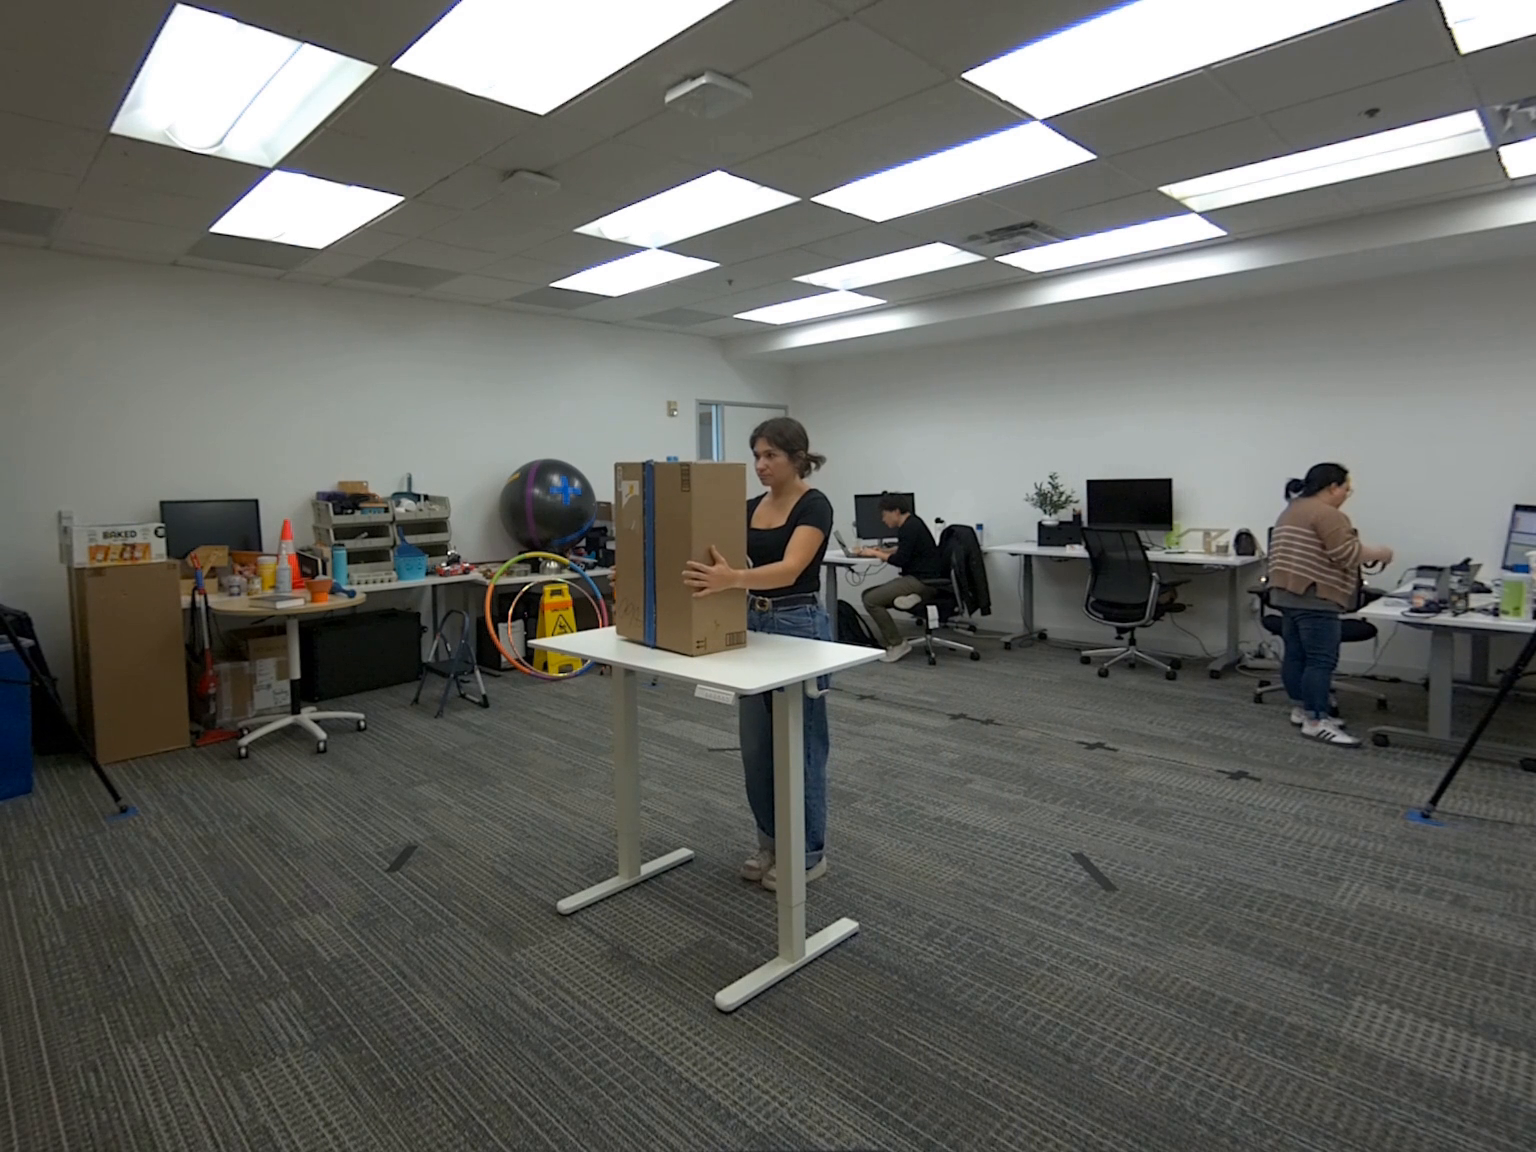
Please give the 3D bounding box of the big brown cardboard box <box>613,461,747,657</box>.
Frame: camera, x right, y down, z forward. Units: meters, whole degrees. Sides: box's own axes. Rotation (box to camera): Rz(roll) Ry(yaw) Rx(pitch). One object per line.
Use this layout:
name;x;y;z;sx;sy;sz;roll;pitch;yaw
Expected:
big brown cardboard box;-0.280;-0.080;2.689;0.227;0.587;0.430;-4;6;-40
